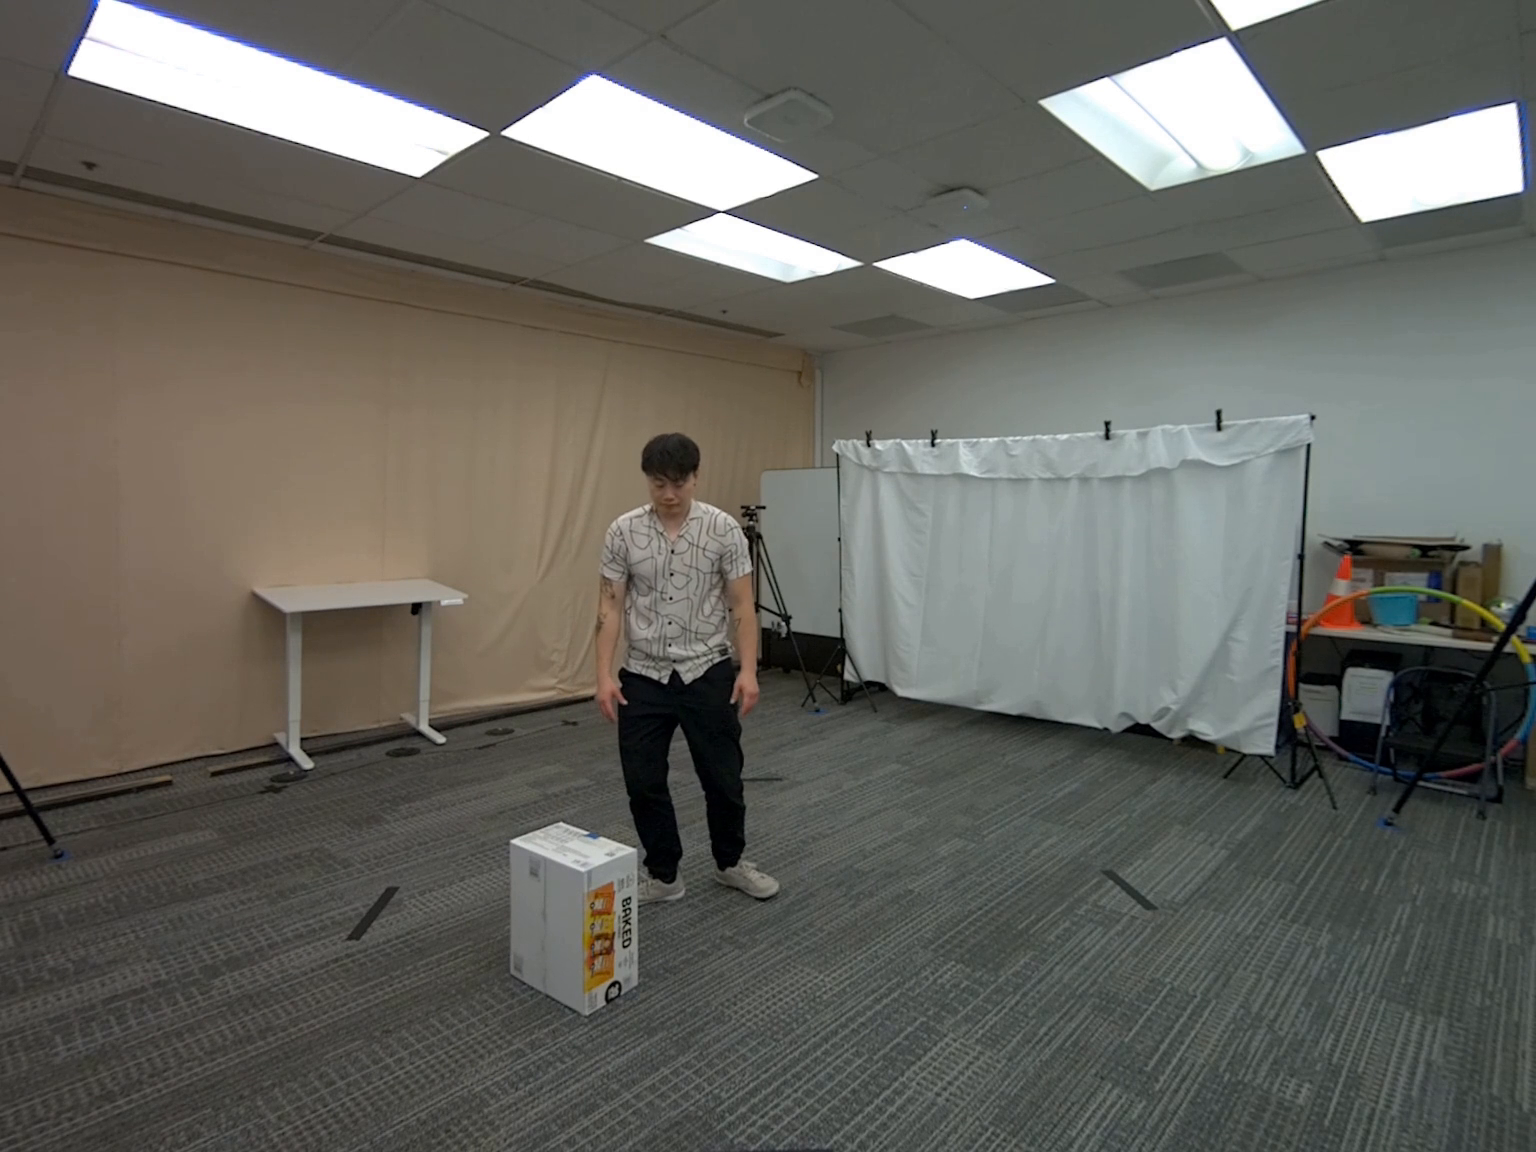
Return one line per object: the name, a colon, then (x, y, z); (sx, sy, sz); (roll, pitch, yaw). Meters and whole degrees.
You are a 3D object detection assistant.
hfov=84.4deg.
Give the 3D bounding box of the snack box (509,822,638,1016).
snack box: (-0.573, 0.993, 2.466); (0.351, 0.404, 0.199); (2, 4, 38)
